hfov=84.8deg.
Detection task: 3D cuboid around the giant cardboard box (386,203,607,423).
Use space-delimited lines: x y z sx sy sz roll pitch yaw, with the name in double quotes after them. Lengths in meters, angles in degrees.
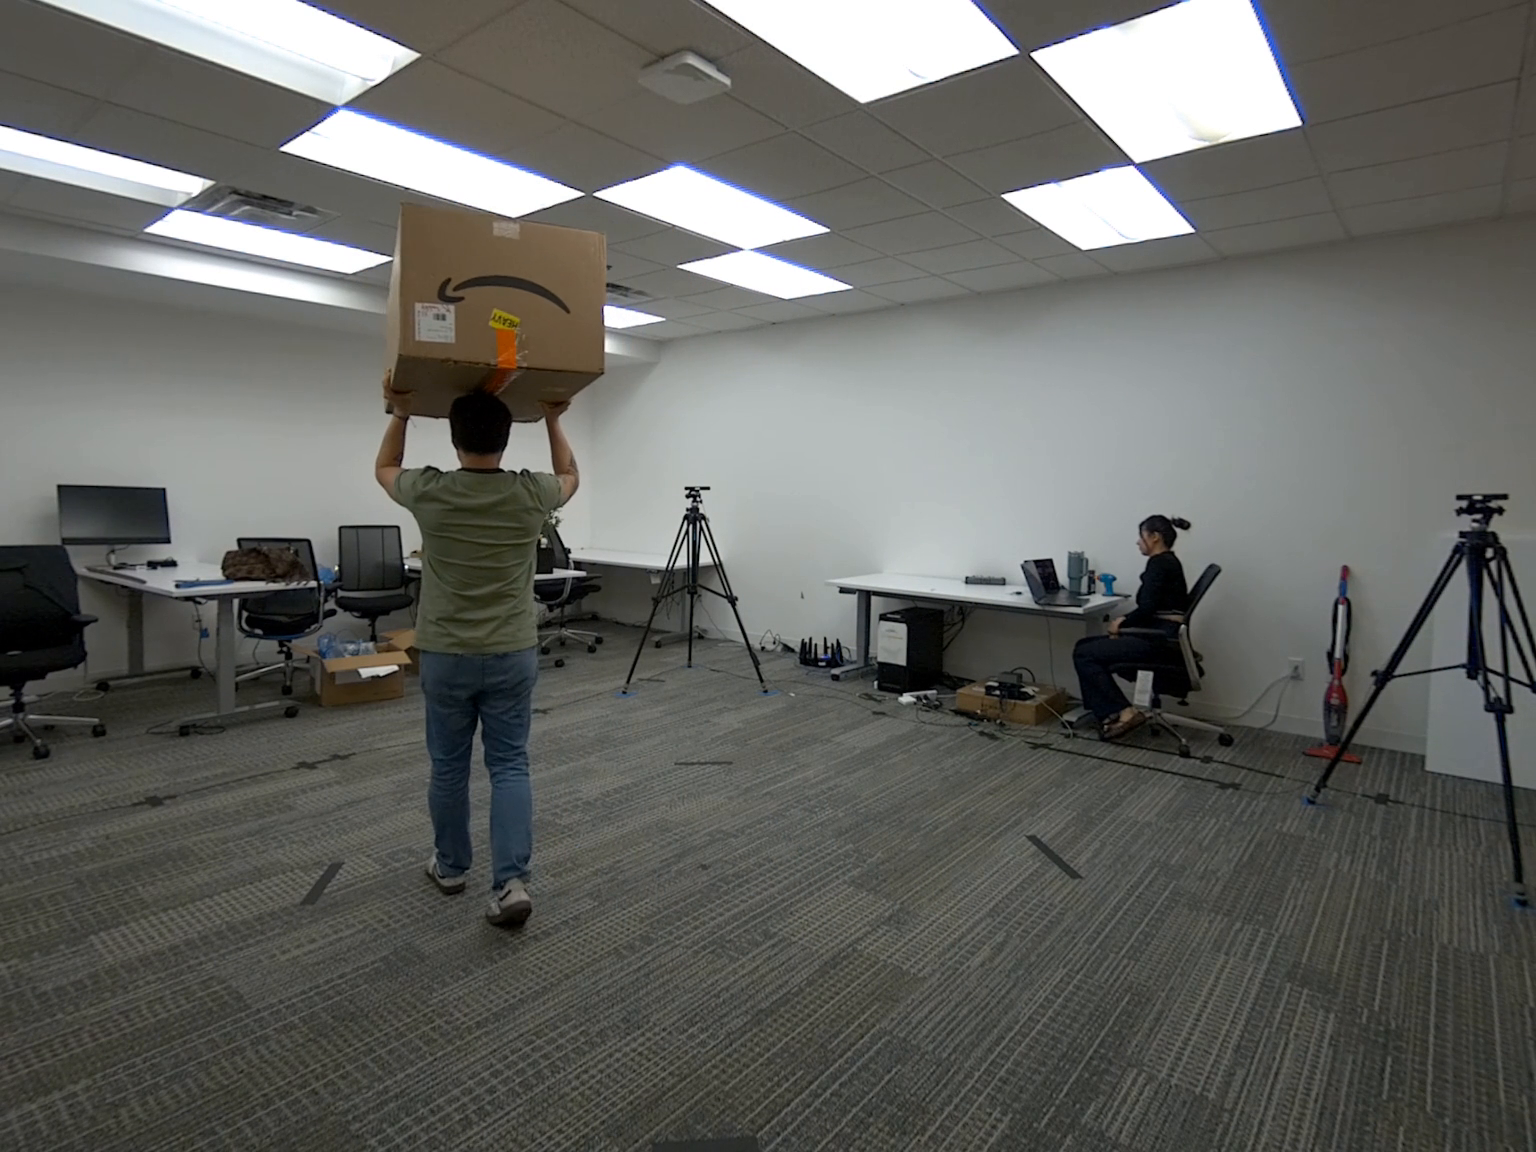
-0.965 -0.810 2.860 0.564 0.426 1.050 0 1 -25 "giant cardboard box"
